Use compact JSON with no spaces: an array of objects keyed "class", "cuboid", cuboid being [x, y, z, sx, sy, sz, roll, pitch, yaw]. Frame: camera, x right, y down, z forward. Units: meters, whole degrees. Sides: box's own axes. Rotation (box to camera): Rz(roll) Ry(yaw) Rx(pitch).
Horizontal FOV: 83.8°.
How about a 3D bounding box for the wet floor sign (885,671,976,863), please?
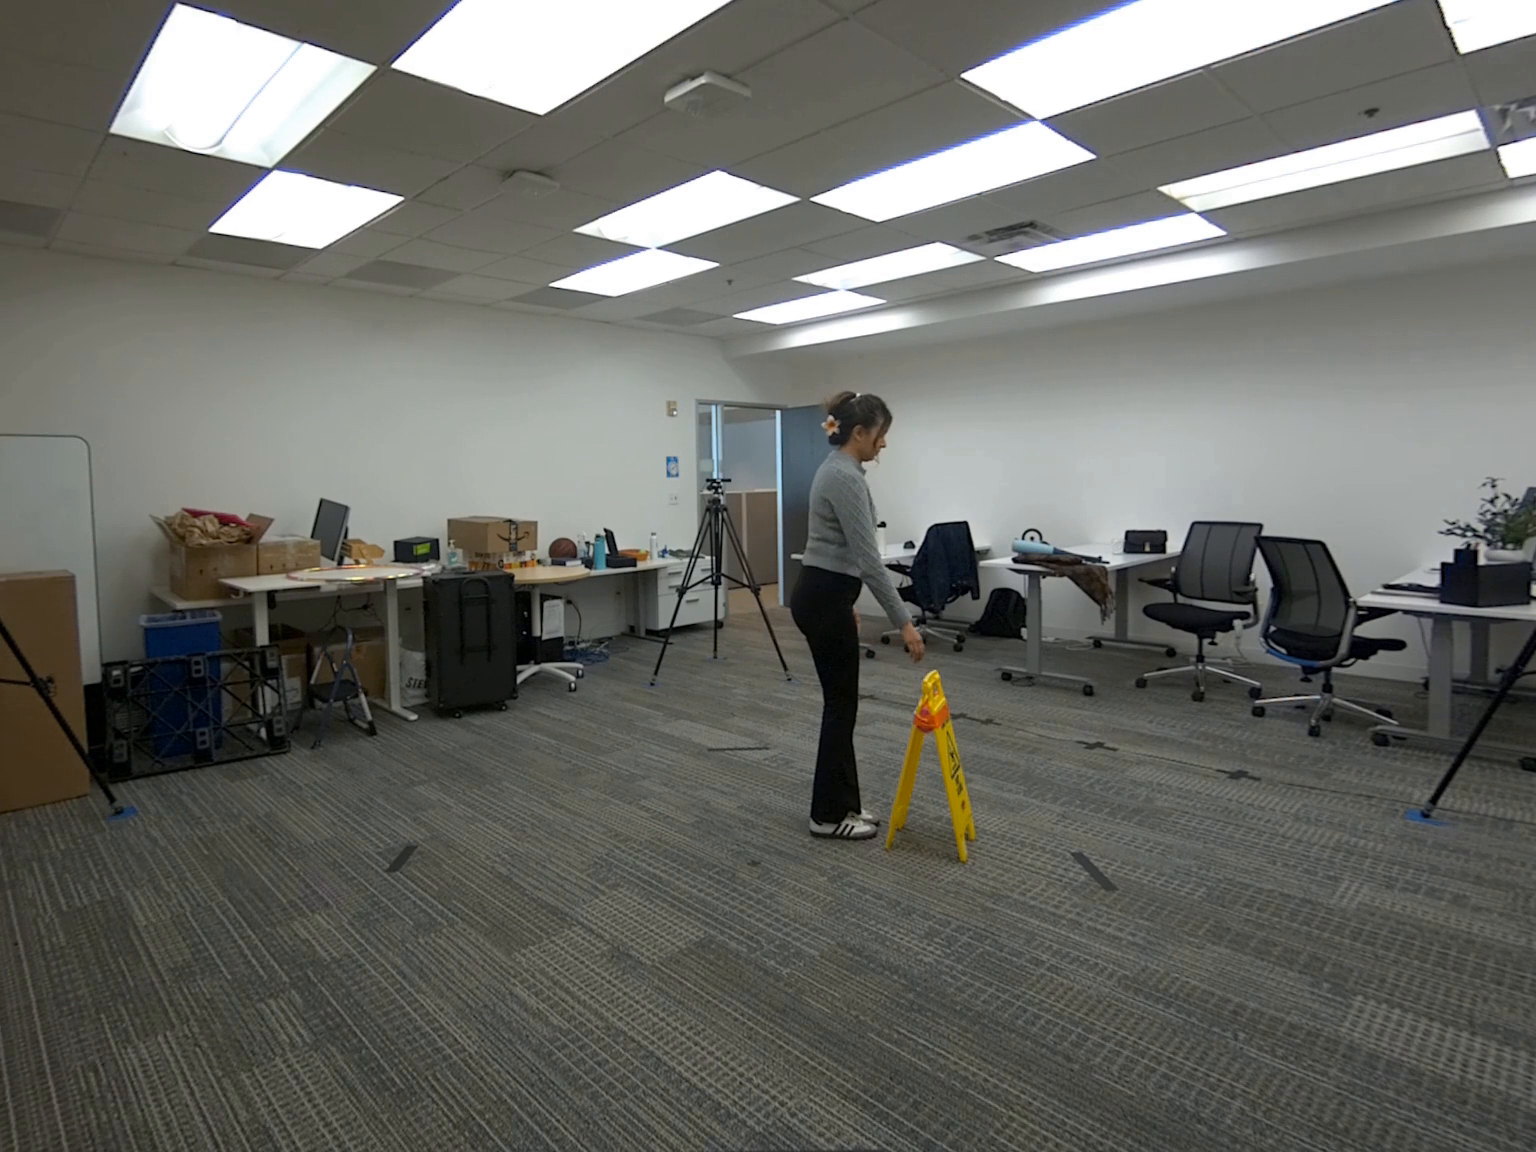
[{"class":"wet floor sign","cuboid":[0.626,0.697,3.242,0.296,0.643,0.277,2,5,24]}]
